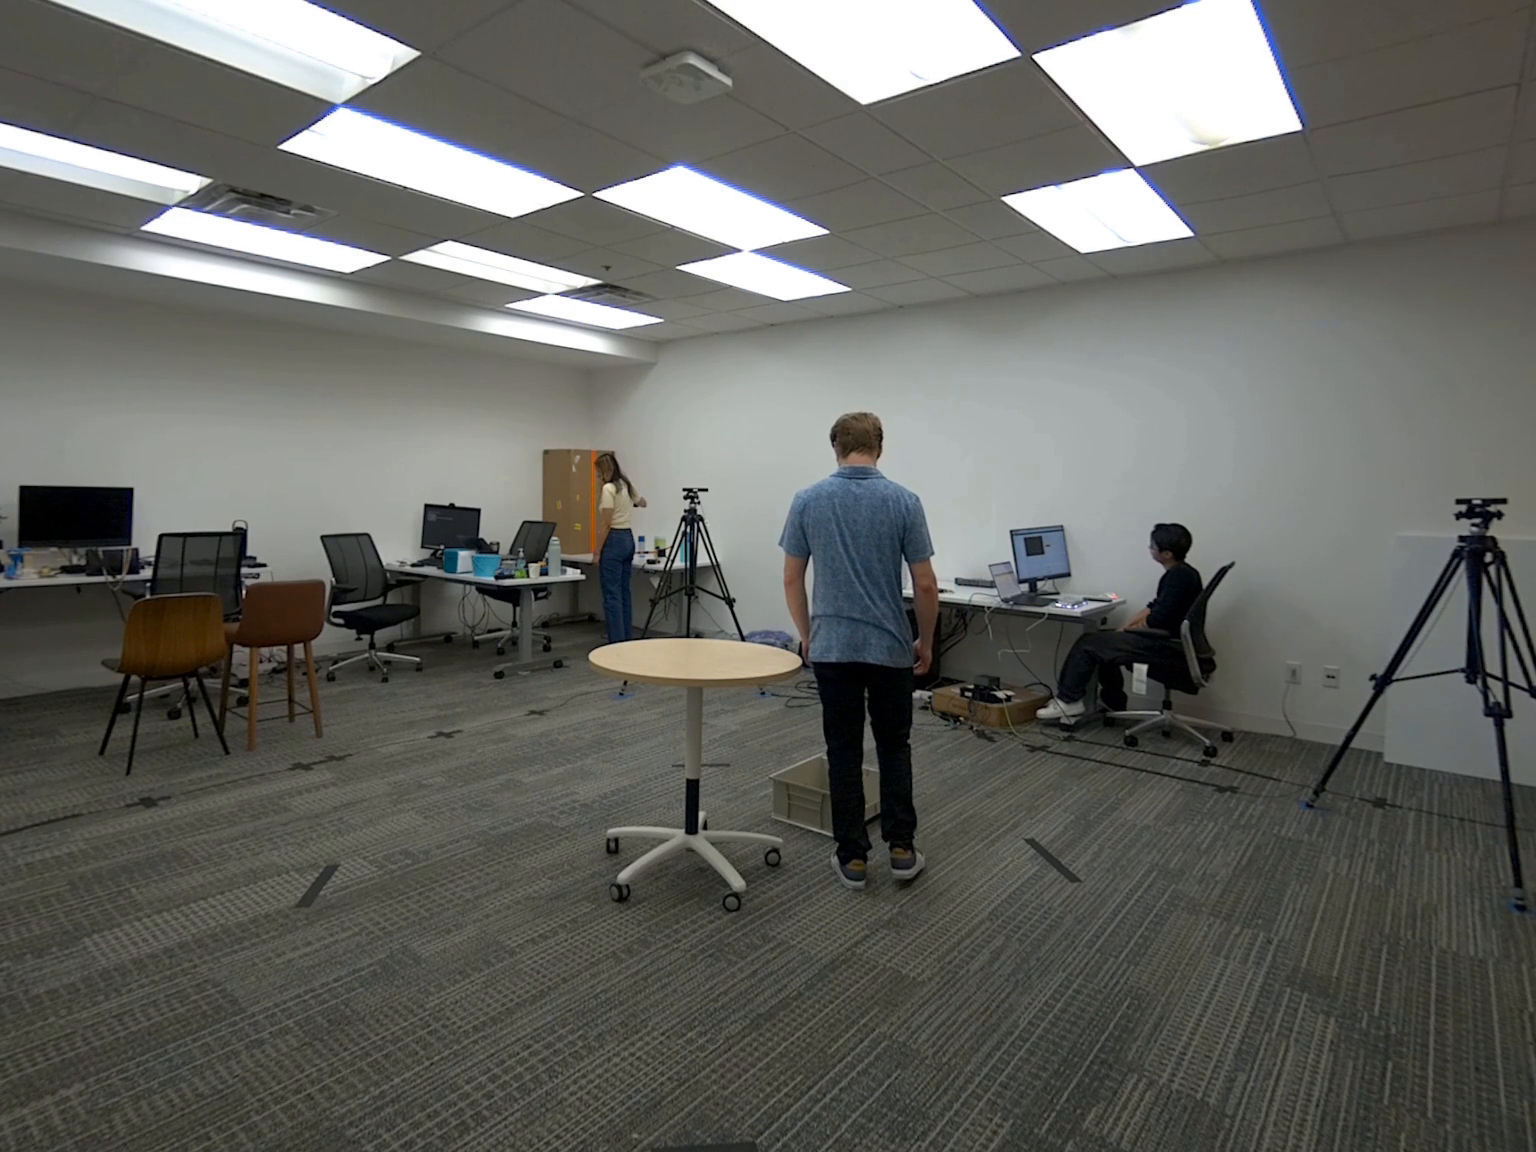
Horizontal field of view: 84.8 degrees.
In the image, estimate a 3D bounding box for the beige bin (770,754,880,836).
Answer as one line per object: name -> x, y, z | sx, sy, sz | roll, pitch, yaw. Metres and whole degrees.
beige bin -> 0.268, 0.937, 3.658 | 0.390, 0.188, 0.410 | 4, 7, 36
